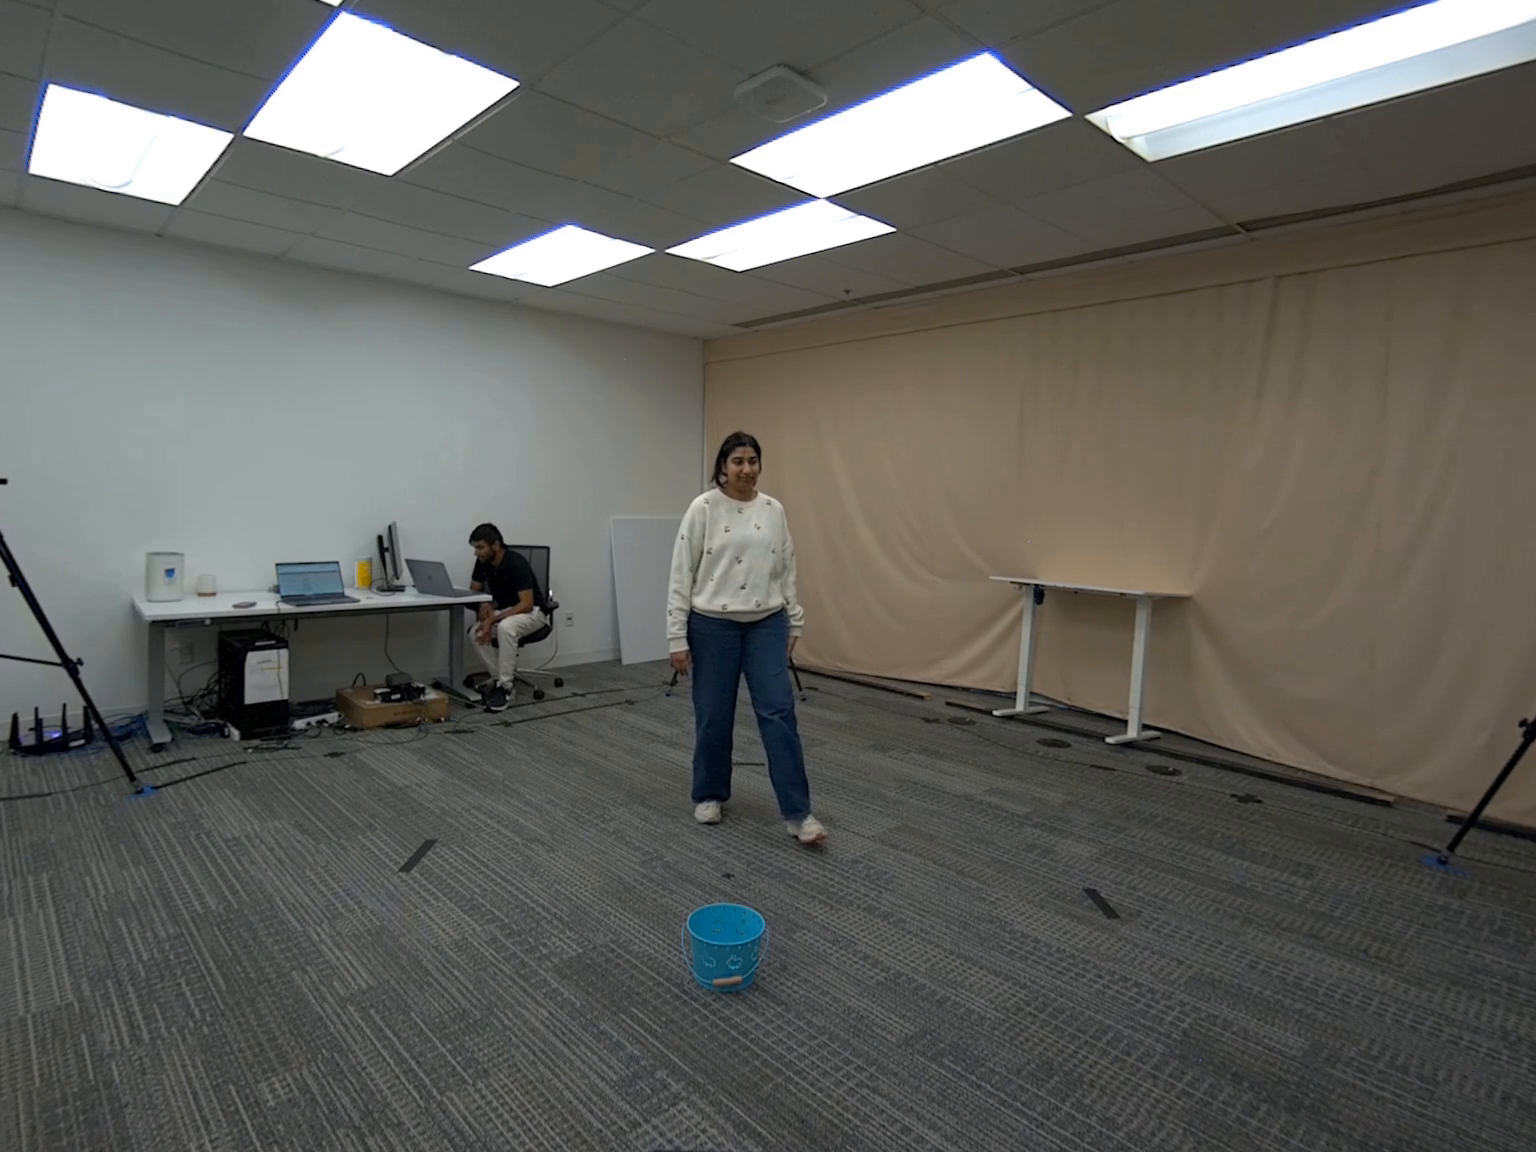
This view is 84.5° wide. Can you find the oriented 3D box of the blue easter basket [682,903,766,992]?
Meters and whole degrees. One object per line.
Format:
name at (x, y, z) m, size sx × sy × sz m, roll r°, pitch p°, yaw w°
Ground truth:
blue easter basket at (-0.143, 1.089, 2.461) m, size 0.243 × 0.155 × 0.244 m, roll 2°, pitch 4°, yaw -1°
